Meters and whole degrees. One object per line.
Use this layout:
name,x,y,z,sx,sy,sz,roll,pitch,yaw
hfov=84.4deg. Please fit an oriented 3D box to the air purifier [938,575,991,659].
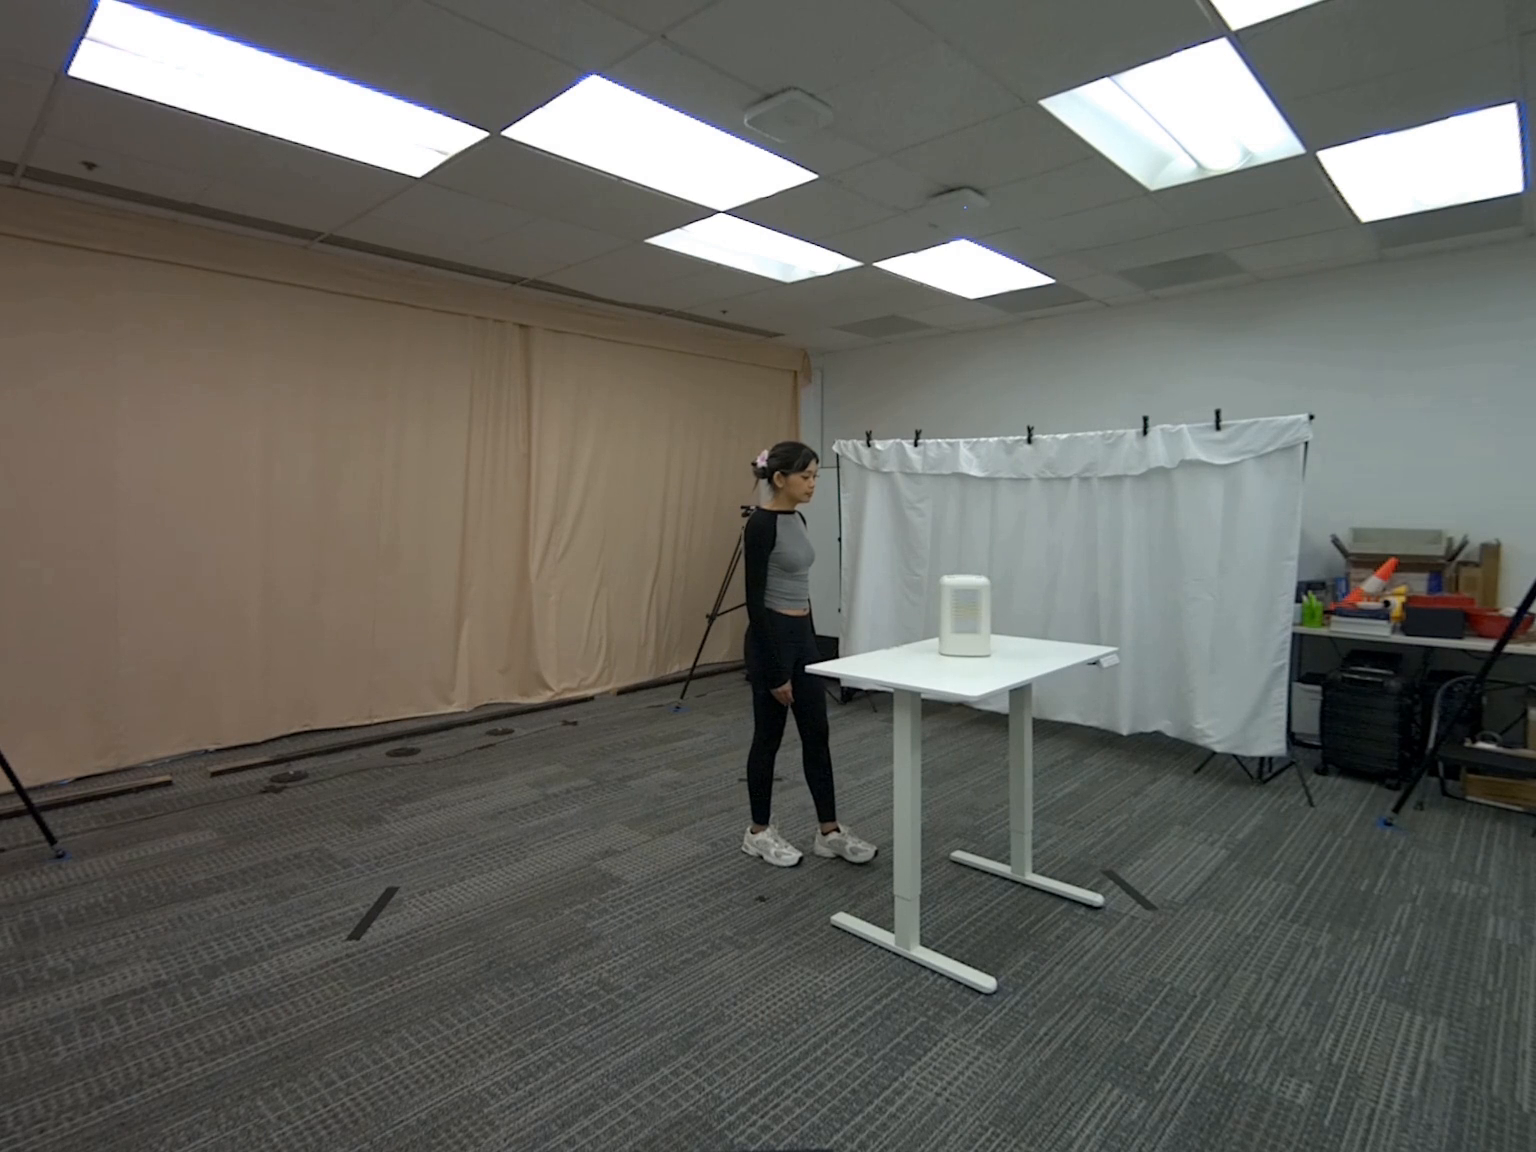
air purifier,0.687,0.133,2.900,0.174,0.265,0.169,0,3,12
